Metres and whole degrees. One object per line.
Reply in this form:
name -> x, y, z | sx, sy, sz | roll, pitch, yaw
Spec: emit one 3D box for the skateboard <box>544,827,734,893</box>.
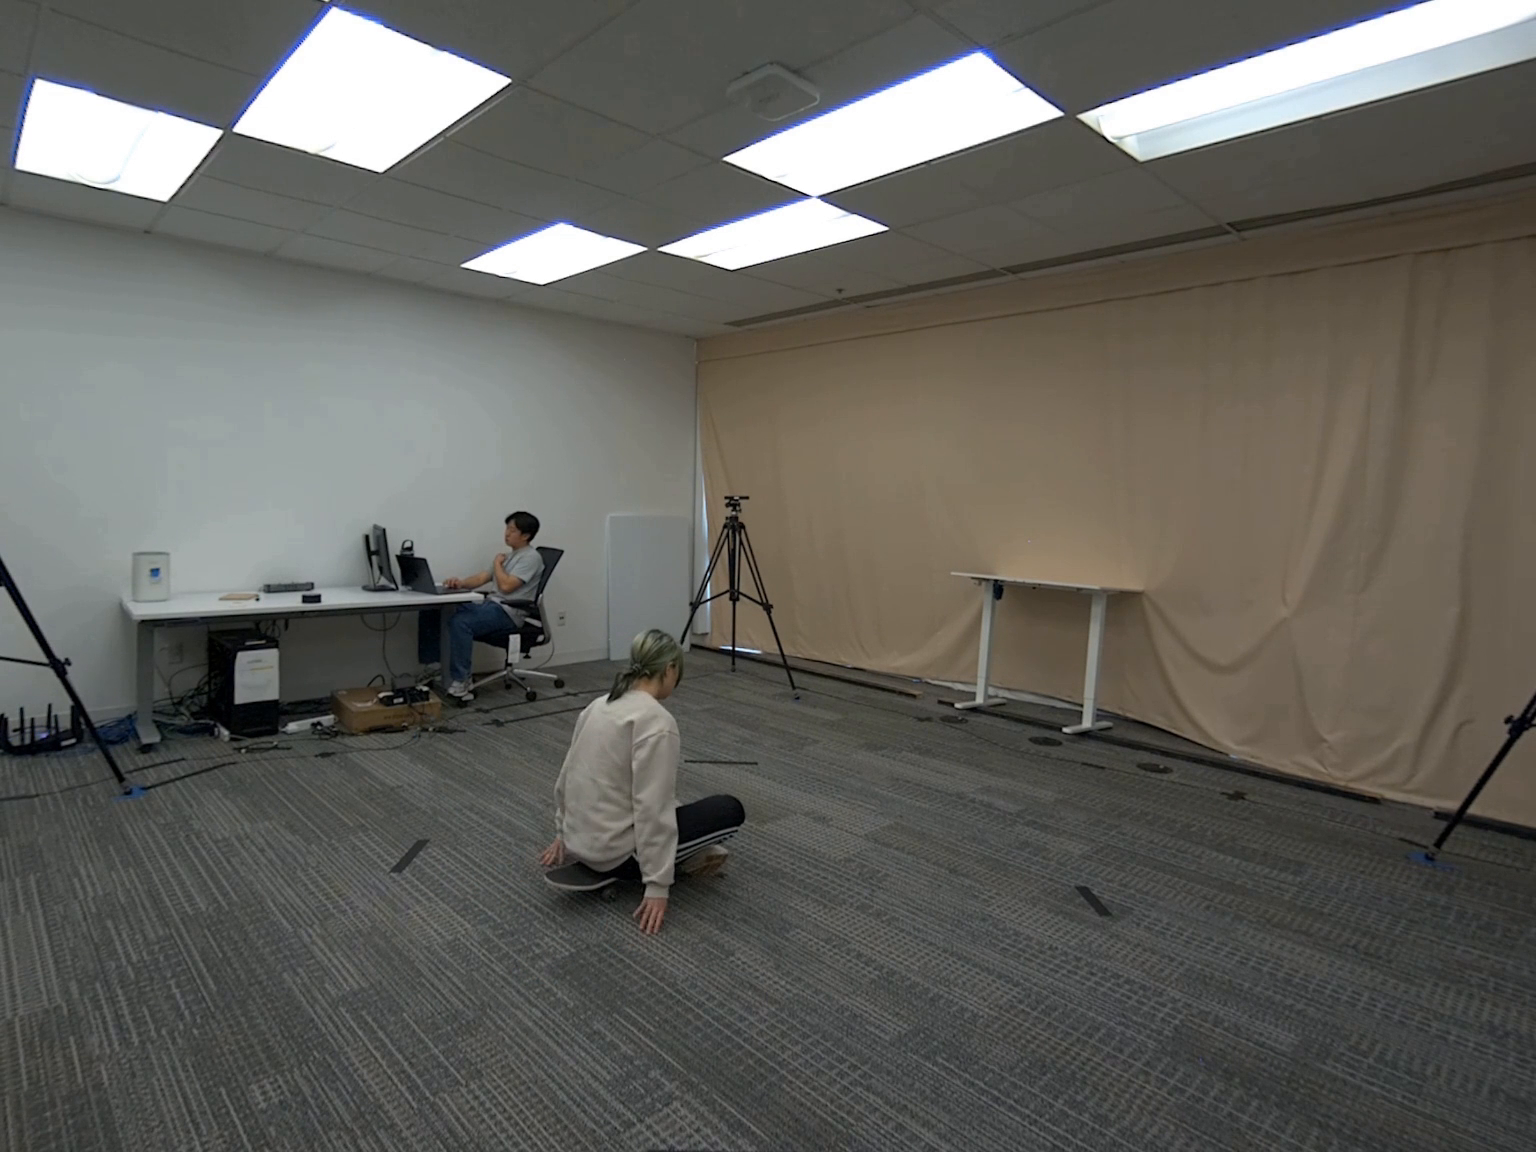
skateboard -> -0.485, 1.041, 3.093 | 0.198, 0.110, 0.769 | 1, 5, 39
